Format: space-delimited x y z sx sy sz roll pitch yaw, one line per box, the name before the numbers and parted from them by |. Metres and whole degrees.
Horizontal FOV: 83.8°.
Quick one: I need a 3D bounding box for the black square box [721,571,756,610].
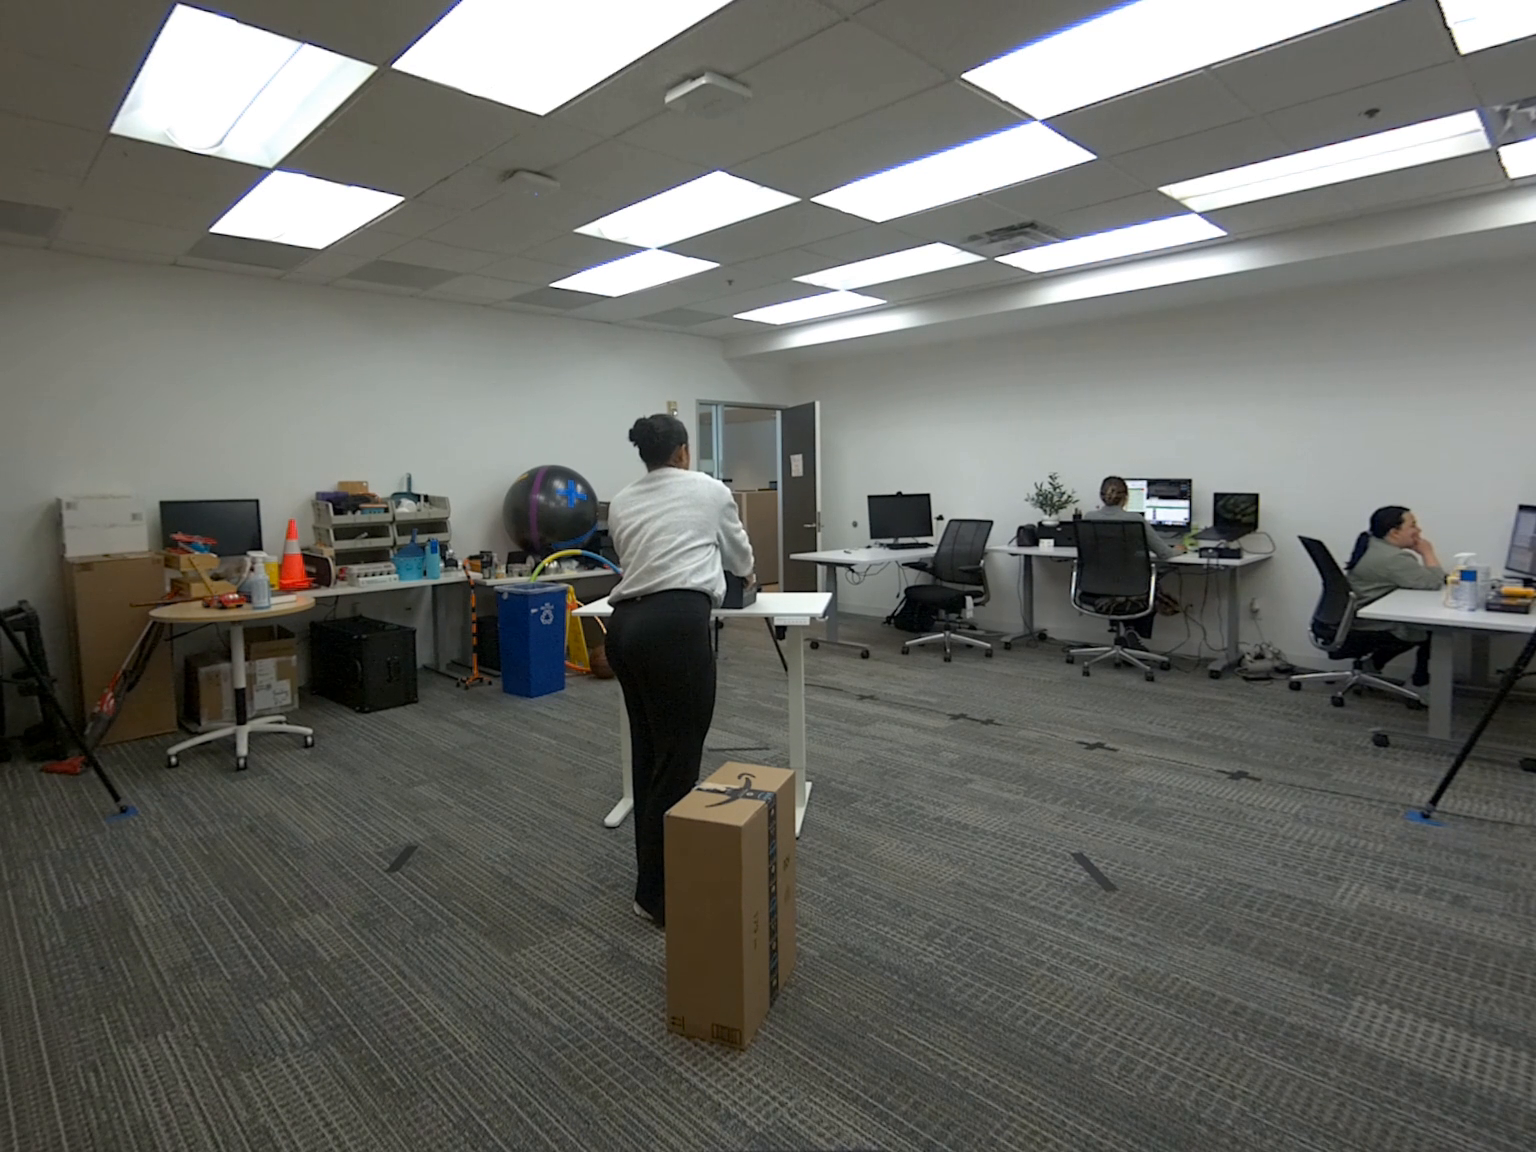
black square box | -0.182 0.042 3.497 0.231 0.155 0.215 -1 5 14
